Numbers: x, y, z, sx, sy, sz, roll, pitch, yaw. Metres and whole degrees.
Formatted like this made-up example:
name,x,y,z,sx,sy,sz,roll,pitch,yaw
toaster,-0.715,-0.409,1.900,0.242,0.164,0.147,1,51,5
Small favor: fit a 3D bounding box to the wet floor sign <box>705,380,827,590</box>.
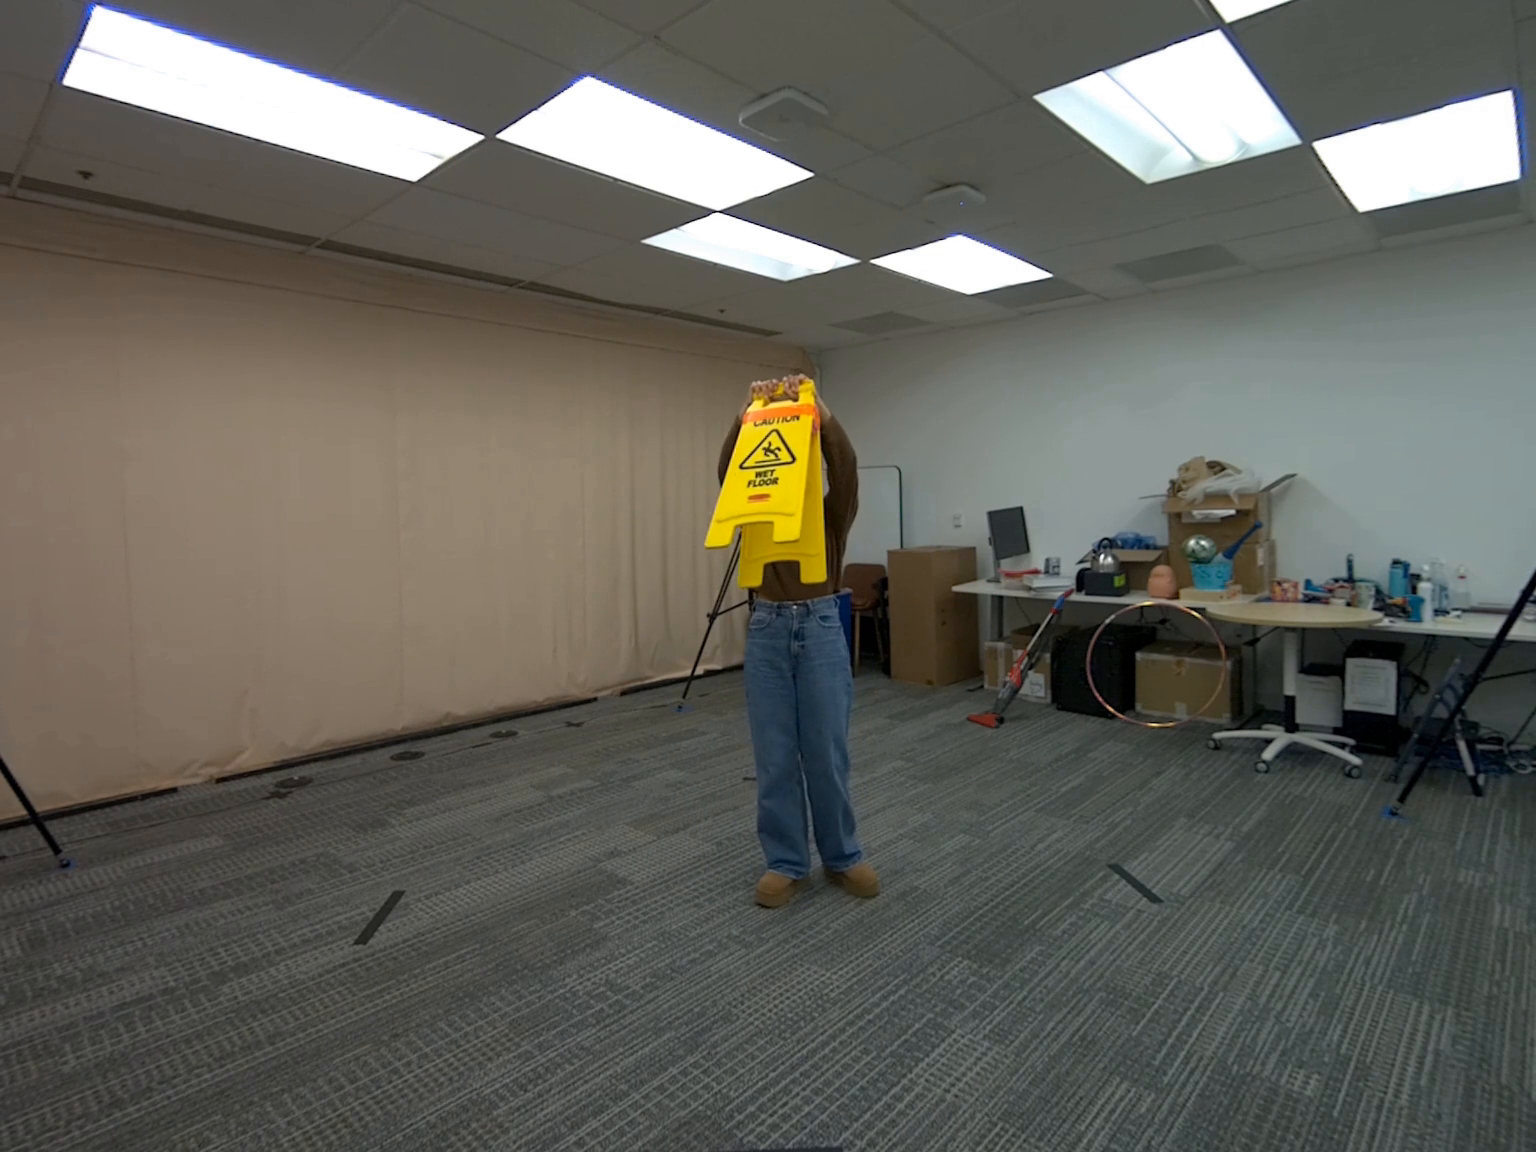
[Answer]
name,x,y,z,sx,sy,sz,roll,pitch,yaw
wet floor sign,0.032,-0.313,2.550,0.288,0.654,0.280,-7,-27,20
